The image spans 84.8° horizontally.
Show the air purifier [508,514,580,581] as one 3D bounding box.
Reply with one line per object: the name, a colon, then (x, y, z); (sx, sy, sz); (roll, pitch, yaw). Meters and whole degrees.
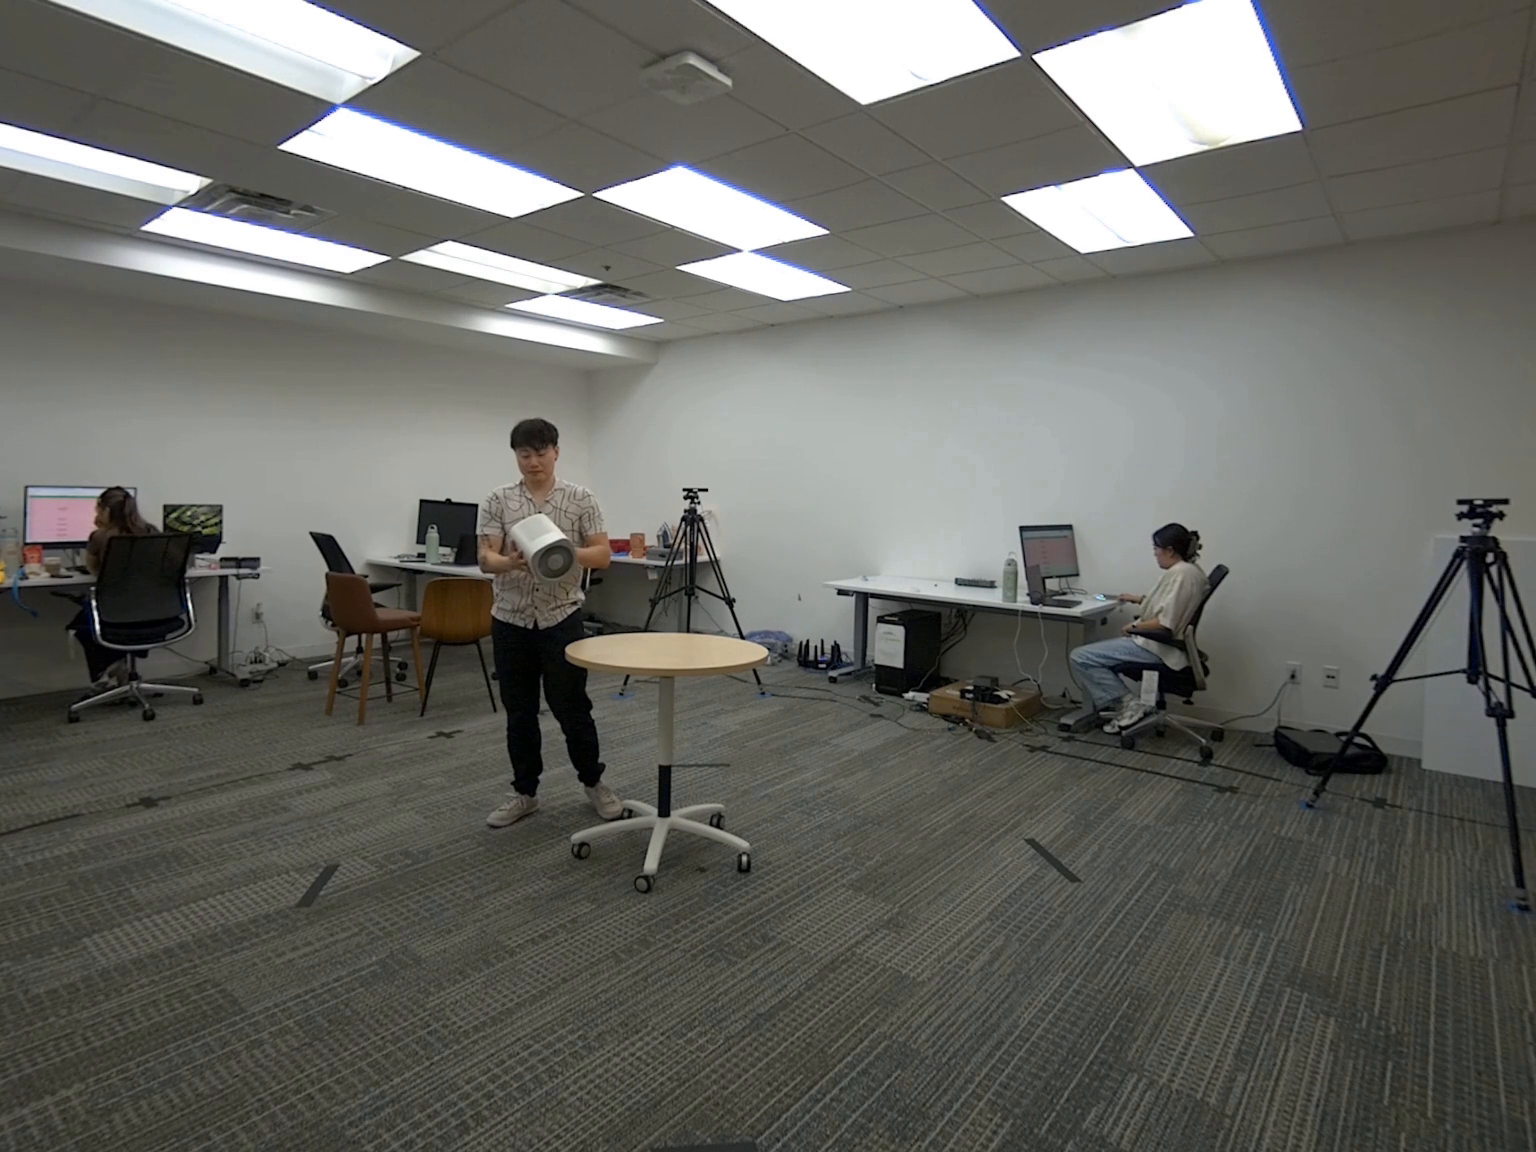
air purifier: (-0.868, -0.113, 3.237); (0.170, 0.165, 0.277); (-28, 38, -21)
